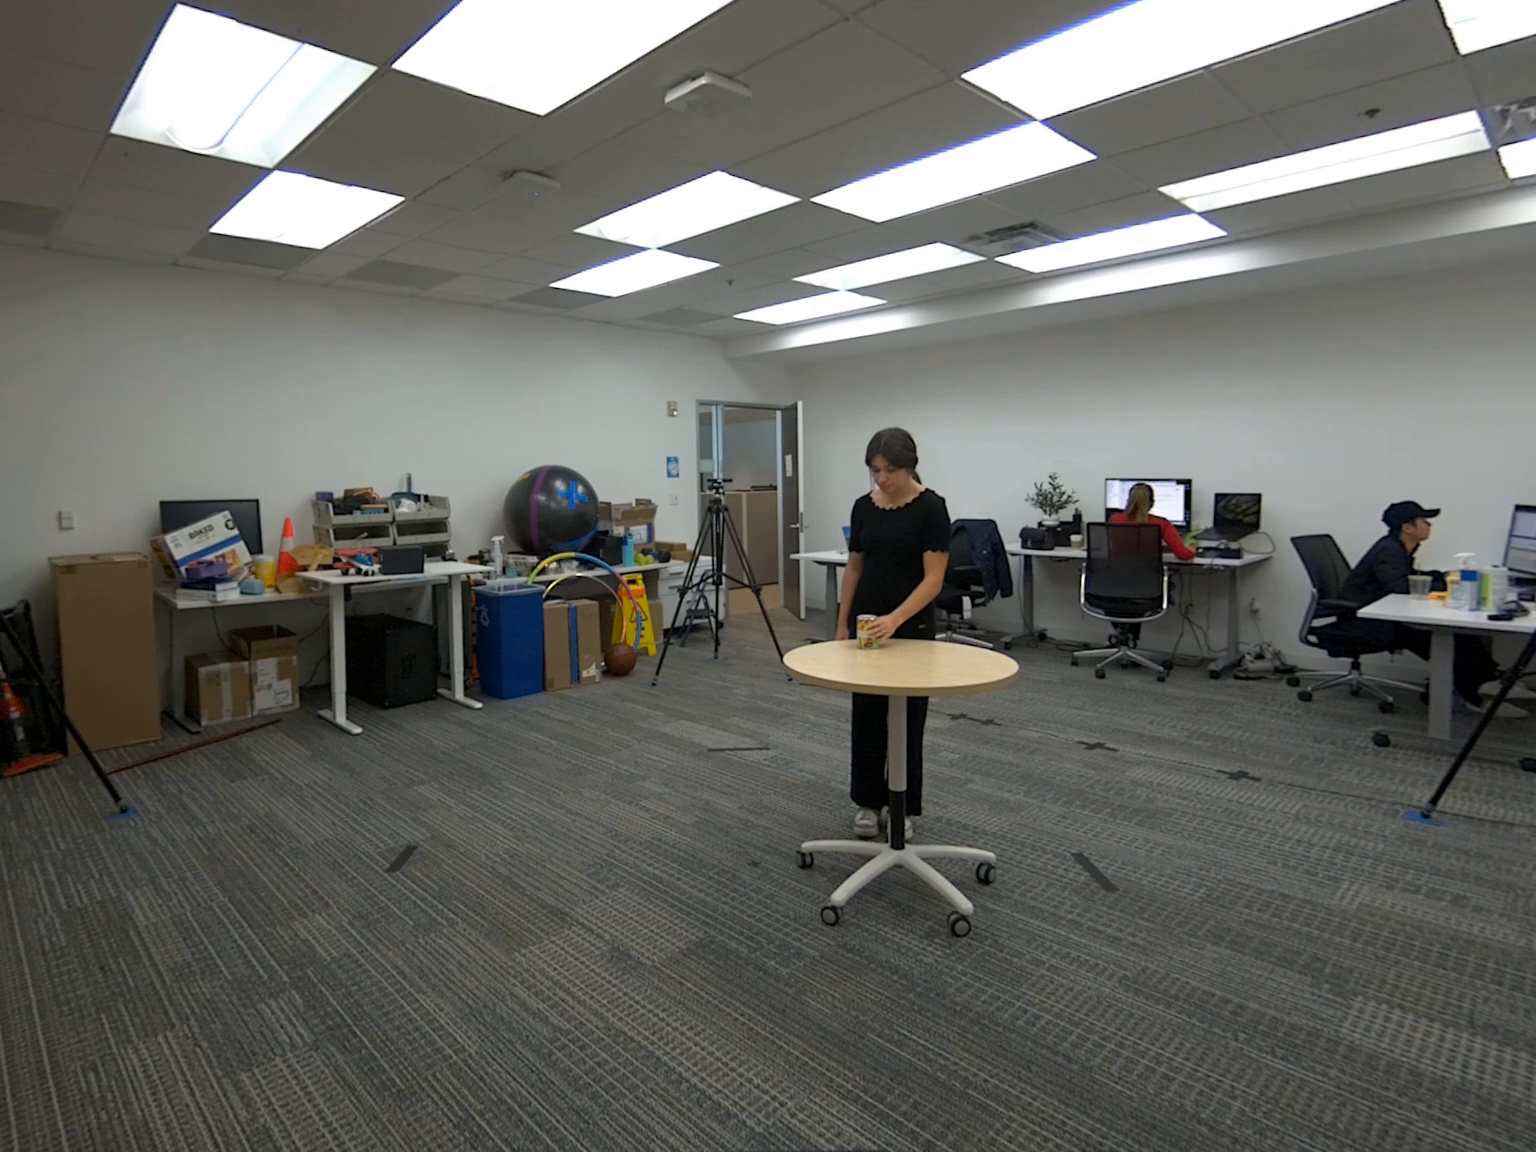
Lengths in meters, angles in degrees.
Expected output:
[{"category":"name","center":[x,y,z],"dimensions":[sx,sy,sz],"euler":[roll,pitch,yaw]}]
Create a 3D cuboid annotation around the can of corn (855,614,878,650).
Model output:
[{"category":"can of corn","center":[0.346,0.205,3.068],"dimensions":[0.074,0.111,0.074],"euler":[0,0,-2]}]
